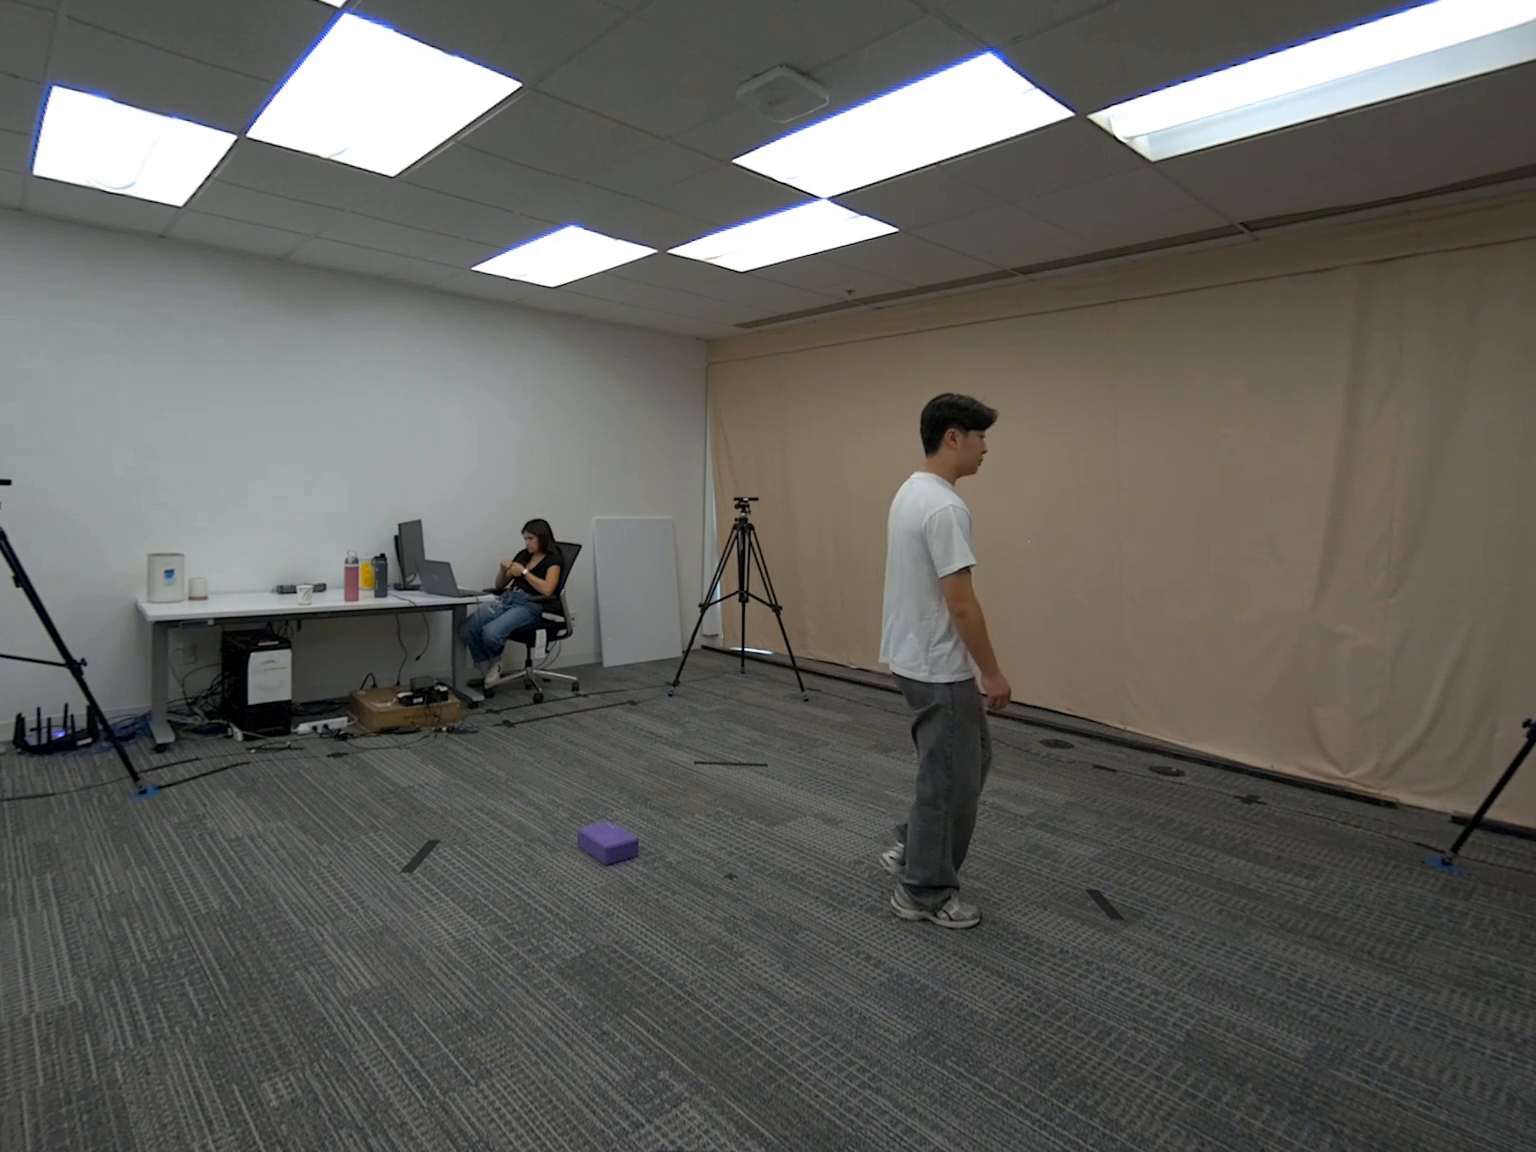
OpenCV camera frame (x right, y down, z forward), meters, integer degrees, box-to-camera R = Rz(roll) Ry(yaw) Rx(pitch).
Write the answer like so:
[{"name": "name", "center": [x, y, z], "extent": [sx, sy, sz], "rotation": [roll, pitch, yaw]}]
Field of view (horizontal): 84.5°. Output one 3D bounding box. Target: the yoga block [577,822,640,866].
[{"name": "yoga block", "center": [-0.637, 1.046, 3.285], "extent": [0.145, 0.076, 0.235], "rotation": [-2, 6, -41]}]
